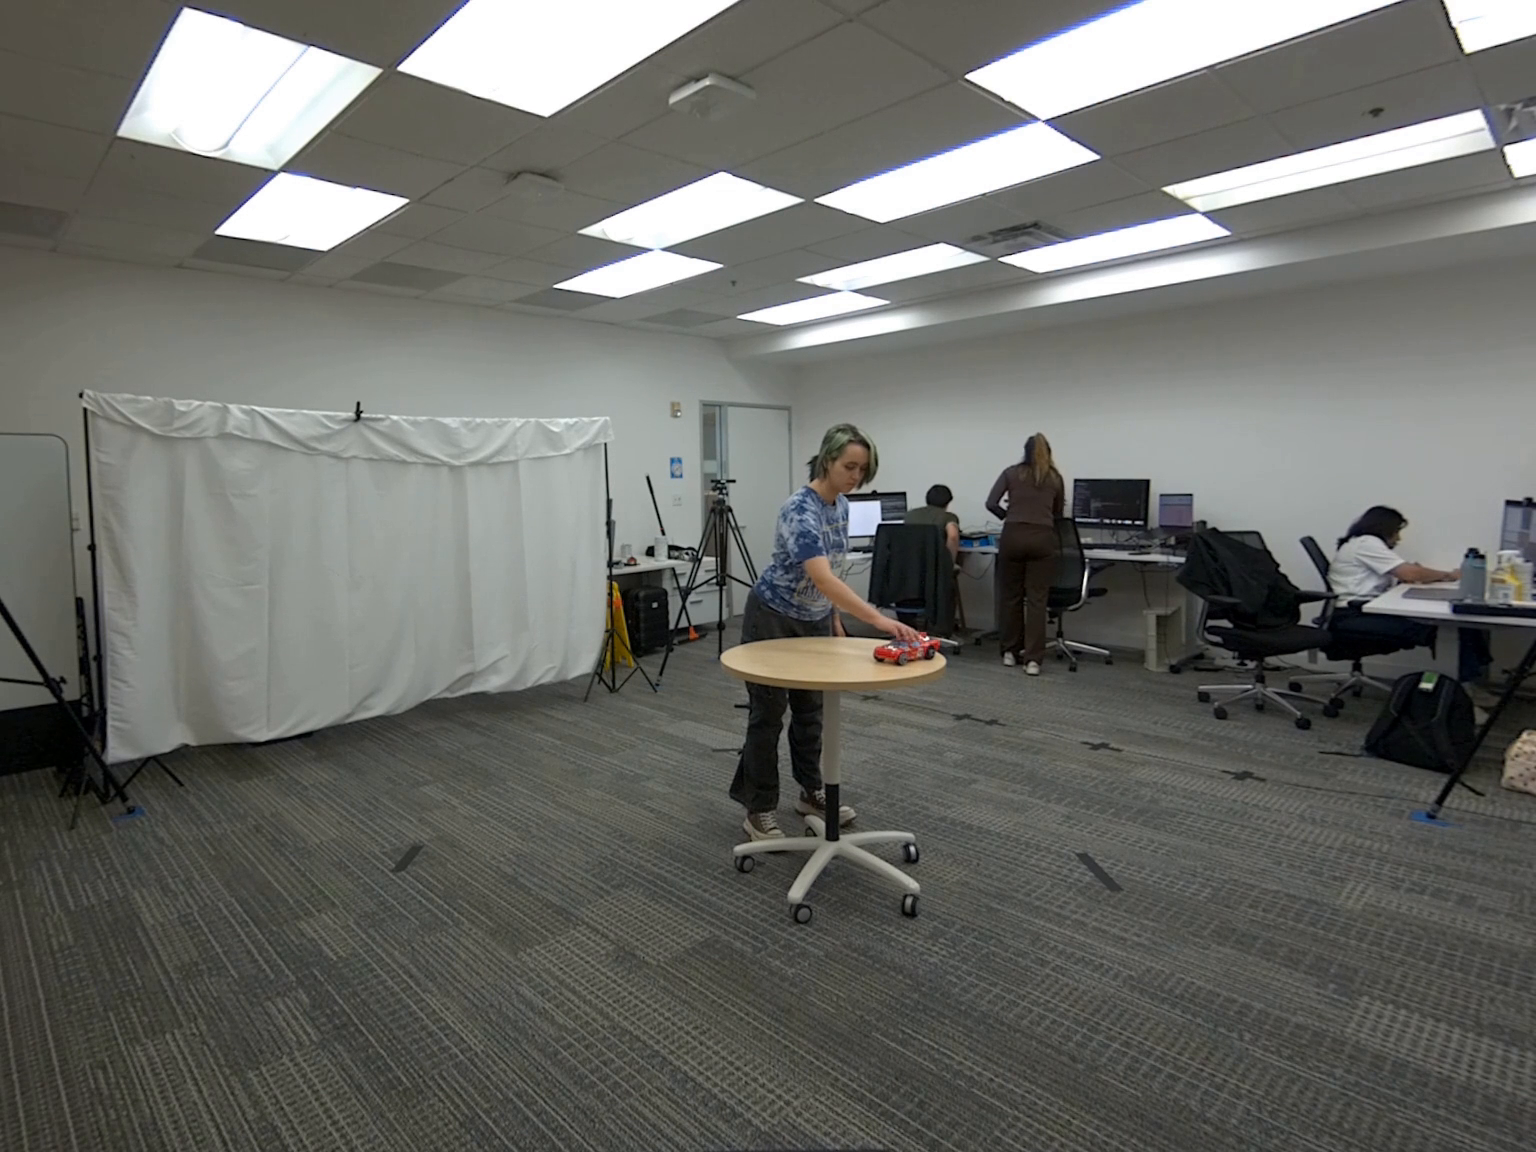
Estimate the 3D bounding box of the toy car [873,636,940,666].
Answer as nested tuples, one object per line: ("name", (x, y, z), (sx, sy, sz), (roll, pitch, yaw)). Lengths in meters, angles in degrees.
("toy car", (0.483, 0.251, 2.880), (0.250, 0.082, 0.134), (-19, 15, -37))
